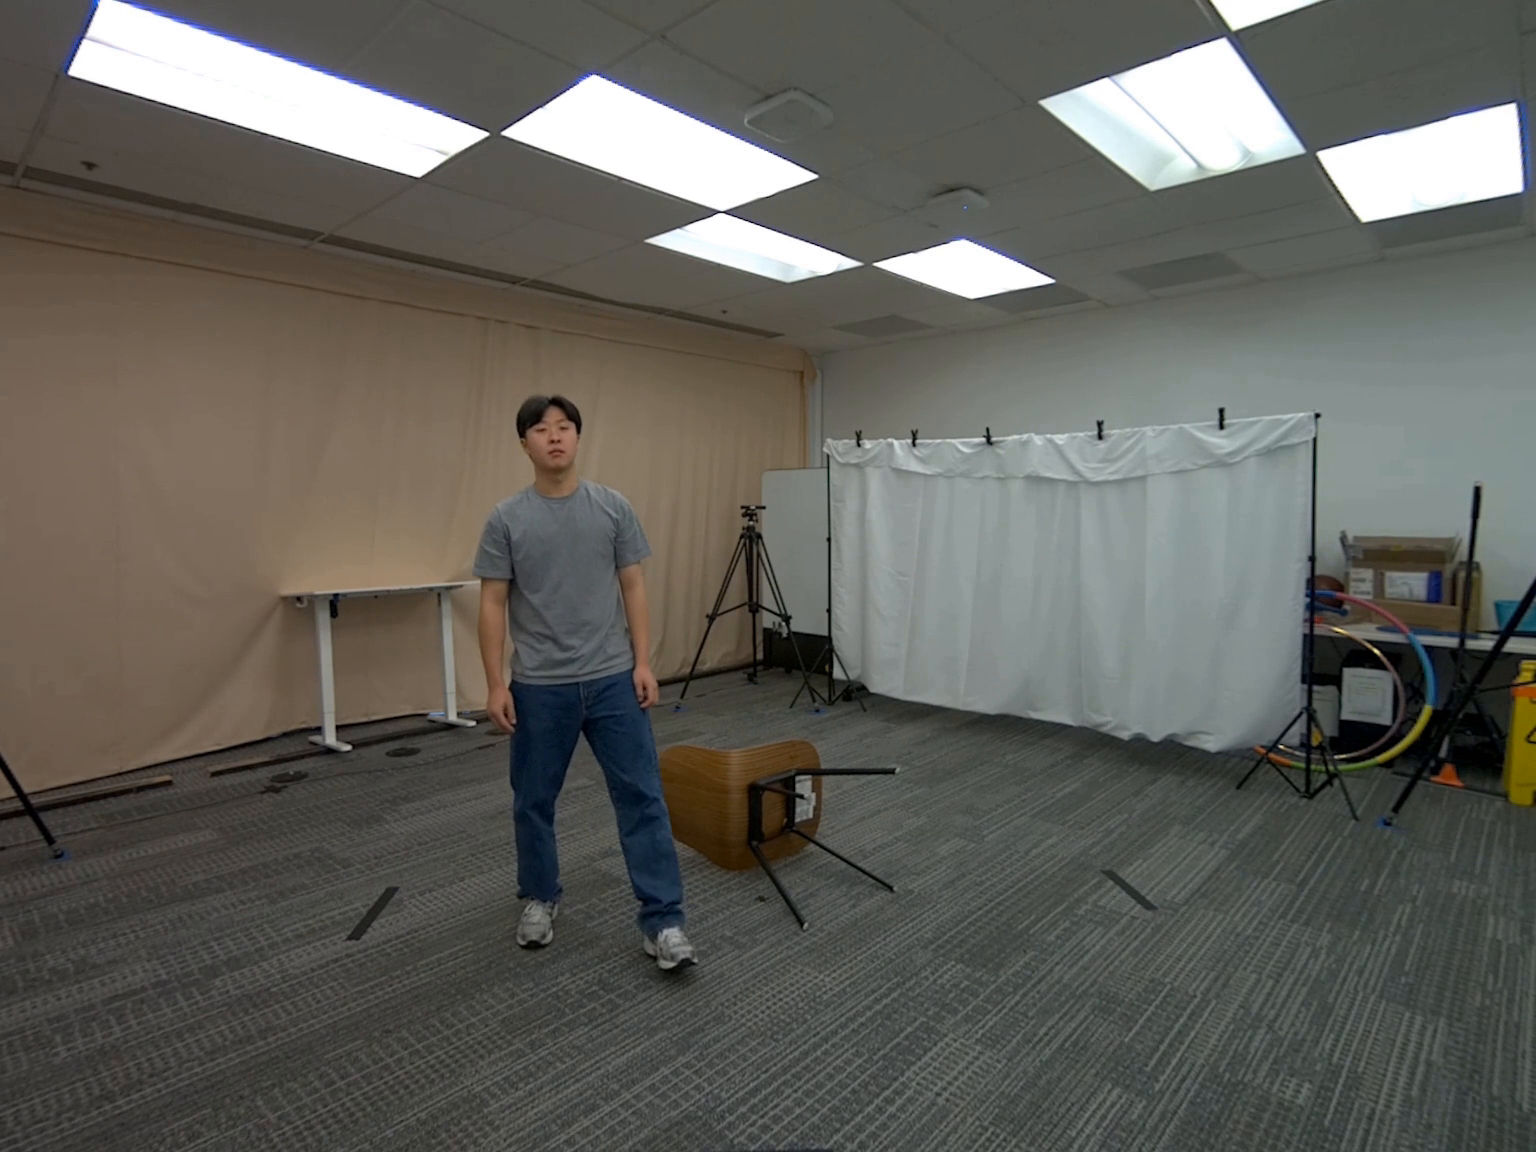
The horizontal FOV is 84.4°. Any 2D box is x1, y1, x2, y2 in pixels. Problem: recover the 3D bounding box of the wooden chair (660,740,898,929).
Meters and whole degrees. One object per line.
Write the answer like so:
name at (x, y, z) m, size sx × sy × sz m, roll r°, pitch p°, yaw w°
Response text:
wooden chair at (0.024, 0.892, 3.226) m, size 0.507 × 0.477 × 0.907 m, roll -4°, pitch 6°, yaw -43°
